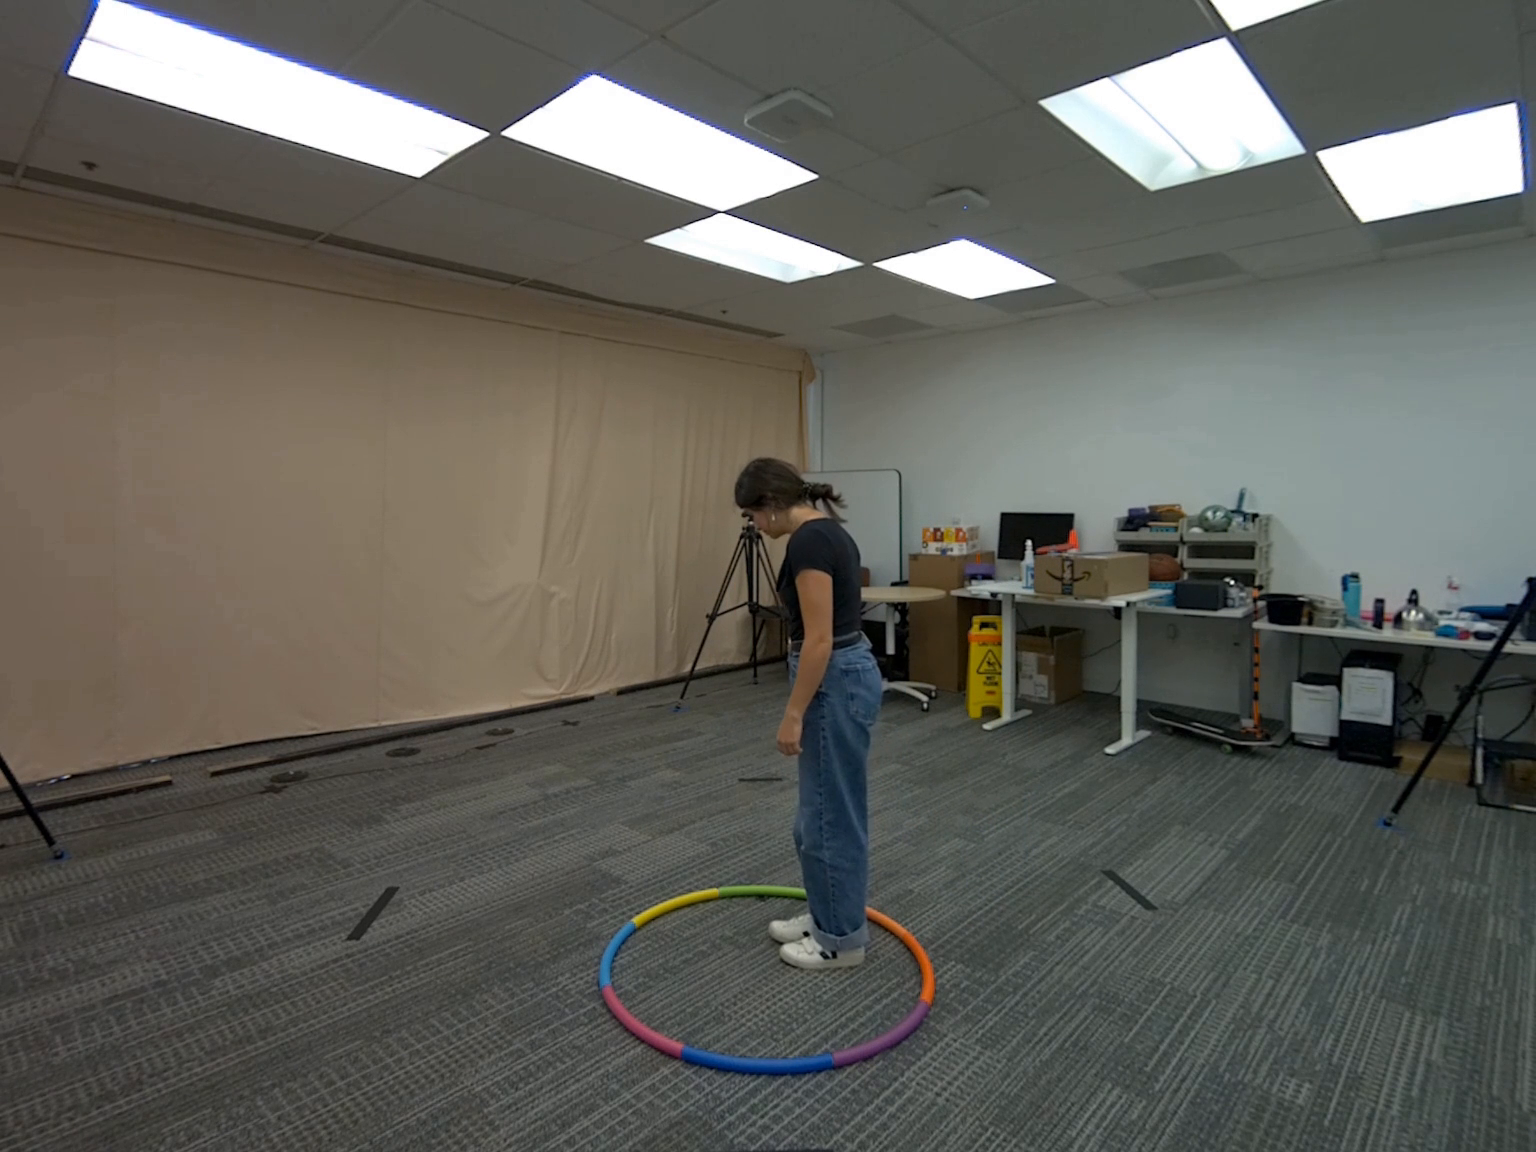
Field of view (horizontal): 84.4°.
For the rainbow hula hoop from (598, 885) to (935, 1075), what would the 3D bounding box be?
[{"bbox_3d":[-0.002,1.152,2.543,0.978,0.035,0.982,0,5,-2],"label":"rainbow hula hoop"}]
